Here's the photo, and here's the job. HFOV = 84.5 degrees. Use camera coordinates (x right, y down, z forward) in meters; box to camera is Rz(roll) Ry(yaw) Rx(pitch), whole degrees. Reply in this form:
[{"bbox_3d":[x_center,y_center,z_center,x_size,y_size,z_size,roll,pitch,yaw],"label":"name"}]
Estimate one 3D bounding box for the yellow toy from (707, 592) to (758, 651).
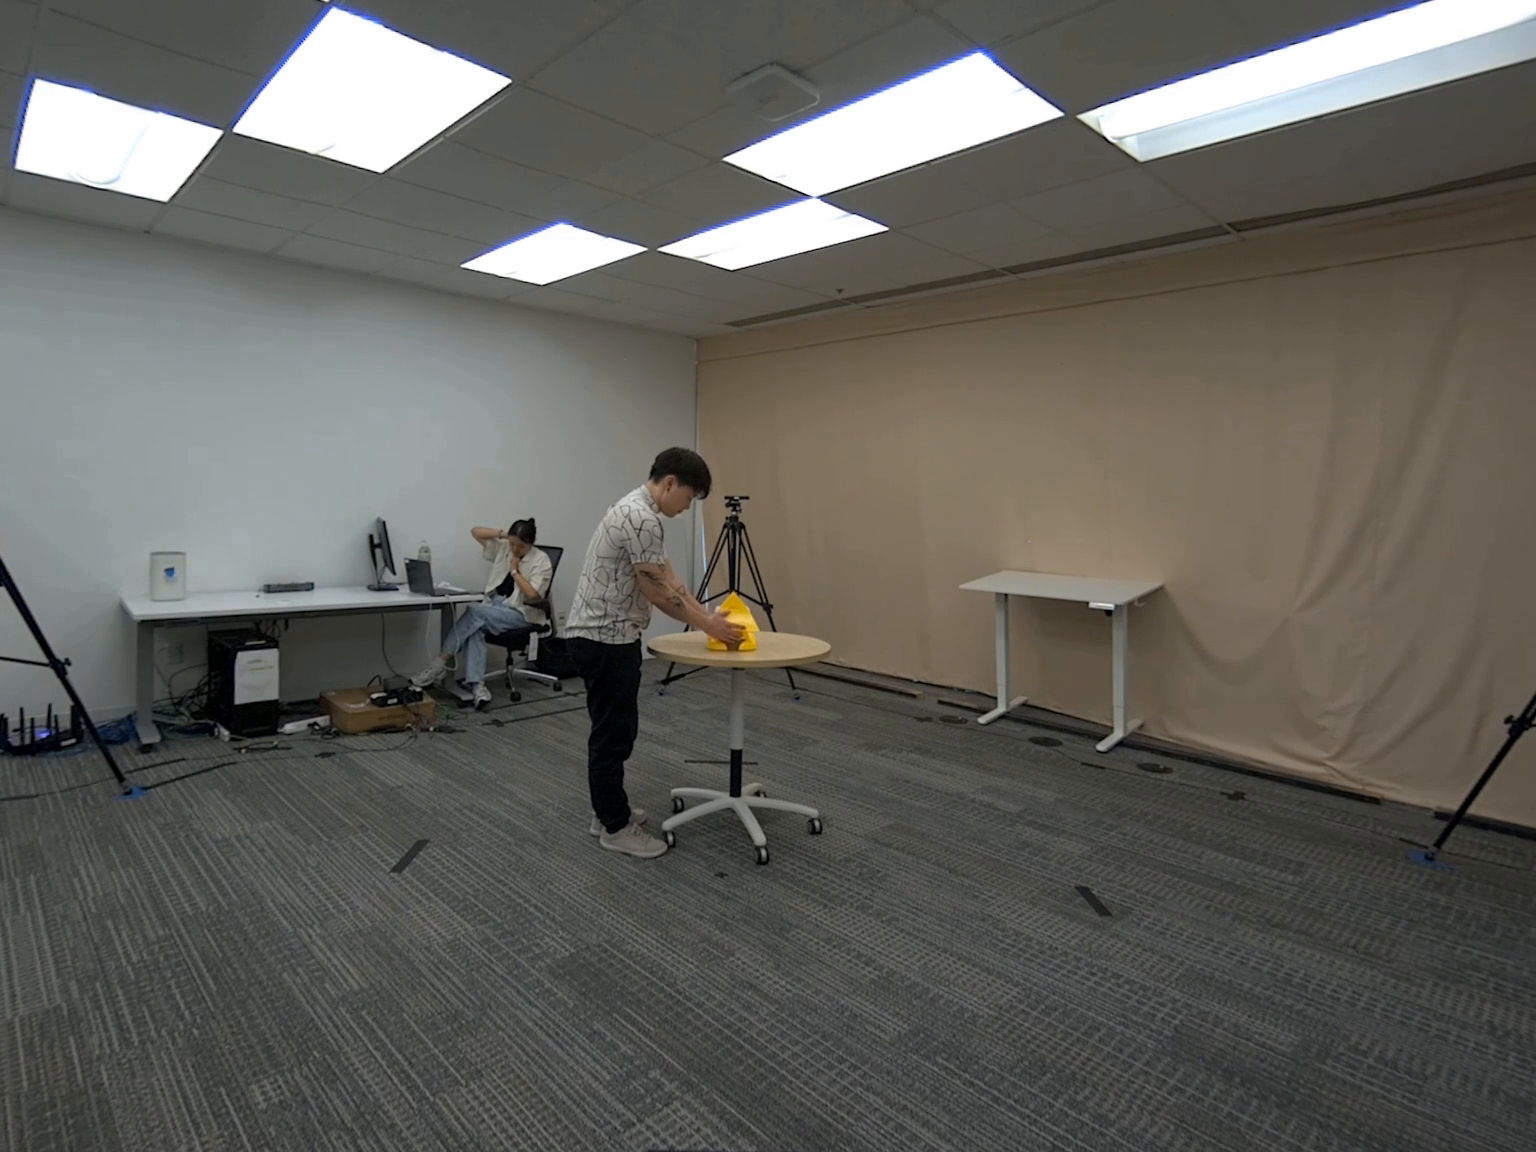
[{"bbox_3d":[-0.154,0.173,3.398,0.204,0.231,0.193,0,0,-3],"label":"yellow toy"}]
